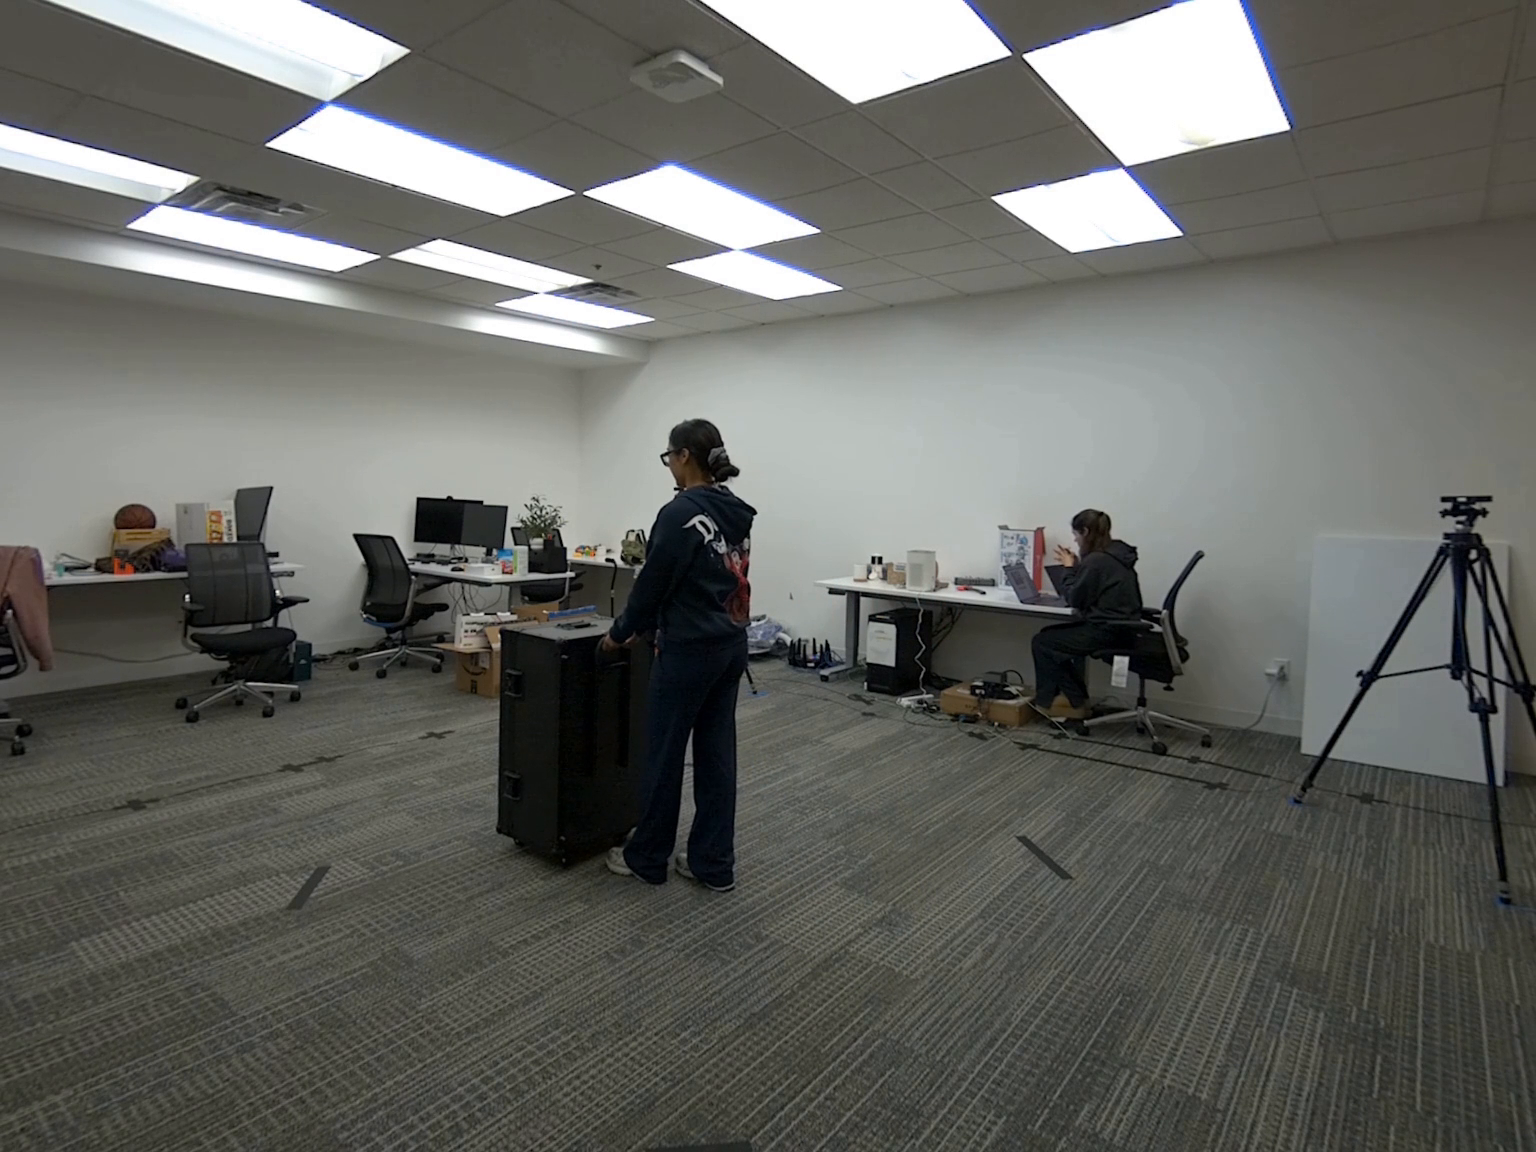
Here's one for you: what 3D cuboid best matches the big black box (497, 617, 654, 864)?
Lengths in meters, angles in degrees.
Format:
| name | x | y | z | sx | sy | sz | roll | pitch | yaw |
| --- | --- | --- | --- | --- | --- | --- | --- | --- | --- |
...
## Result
| name | x | y | z | sx | sy | sz | roll | pitch | yaw |
| --- | --- | --- | --- | --- | --- | --- | --- | --- | --- |
| big black box | -0.740 | 0.623 | 3.282 | 0.410 | 0.858 | 0.506 | 6 | 5 | 37 |
